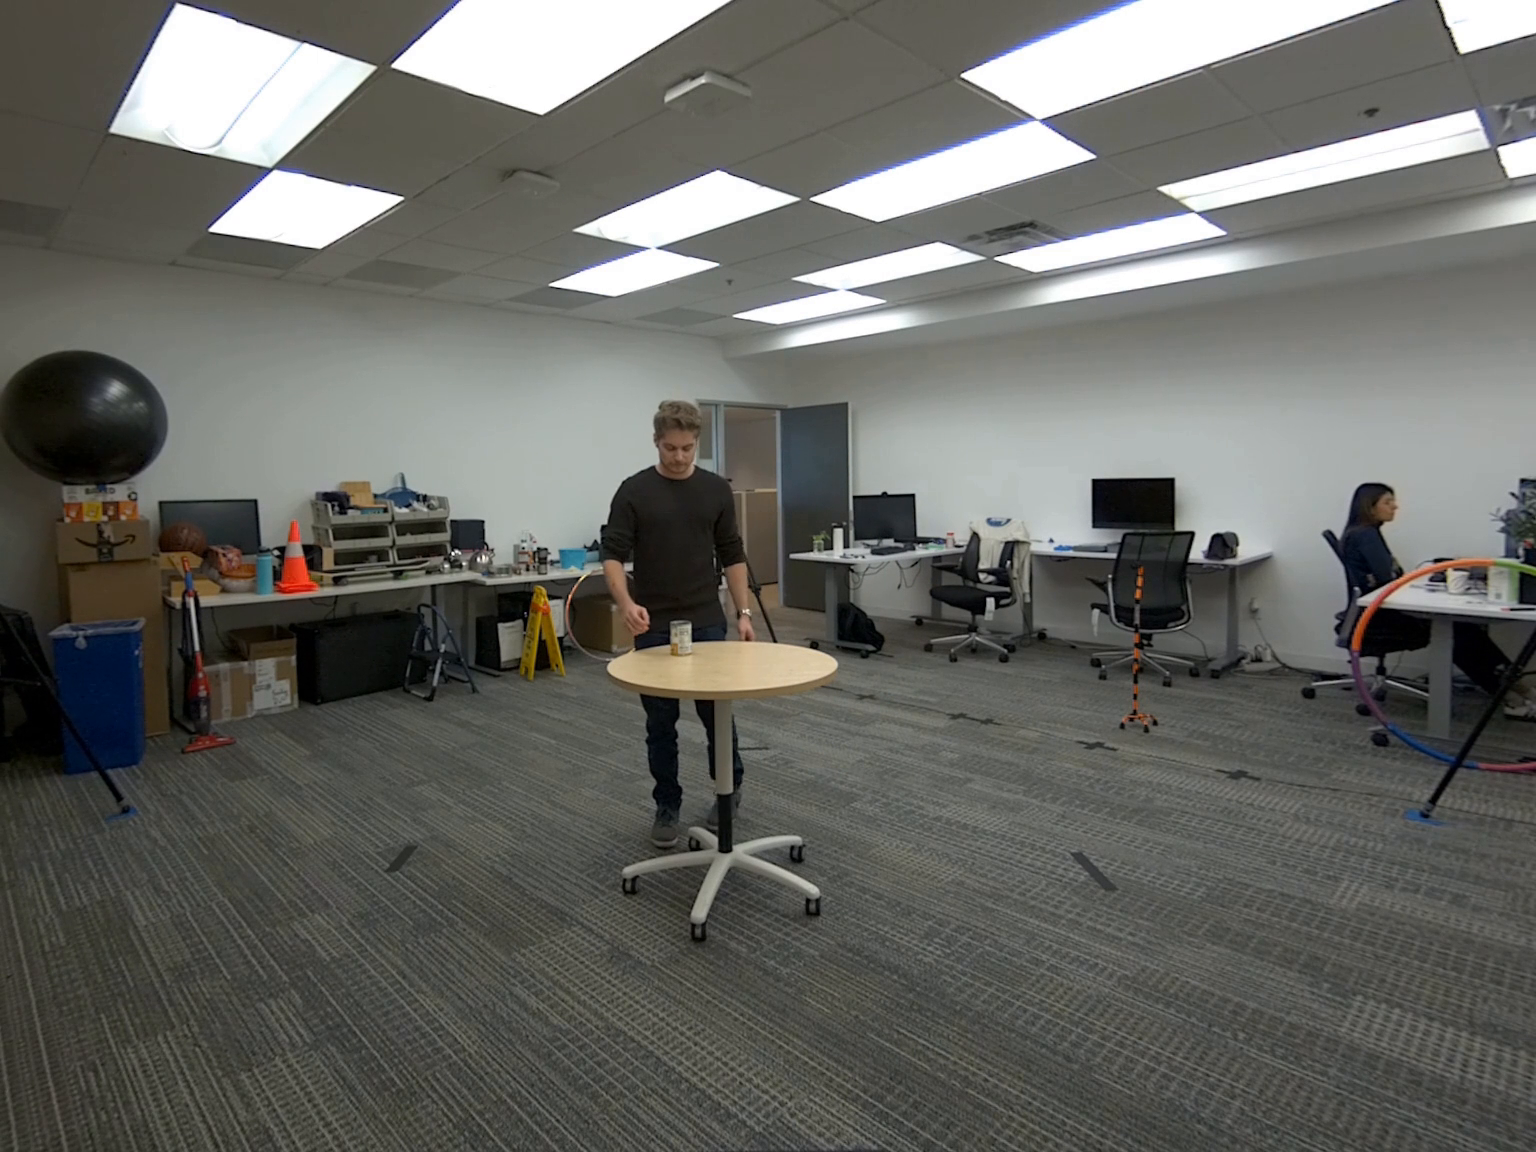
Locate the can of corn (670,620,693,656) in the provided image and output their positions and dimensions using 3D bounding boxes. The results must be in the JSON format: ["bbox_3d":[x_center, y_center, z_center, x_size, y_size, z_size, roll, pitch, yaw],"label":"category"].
[{"bbox_3d":[-0.303,0.225,3.006,0.074,0.110,0.074,1,5,-2],"label":"can of corn"}]
